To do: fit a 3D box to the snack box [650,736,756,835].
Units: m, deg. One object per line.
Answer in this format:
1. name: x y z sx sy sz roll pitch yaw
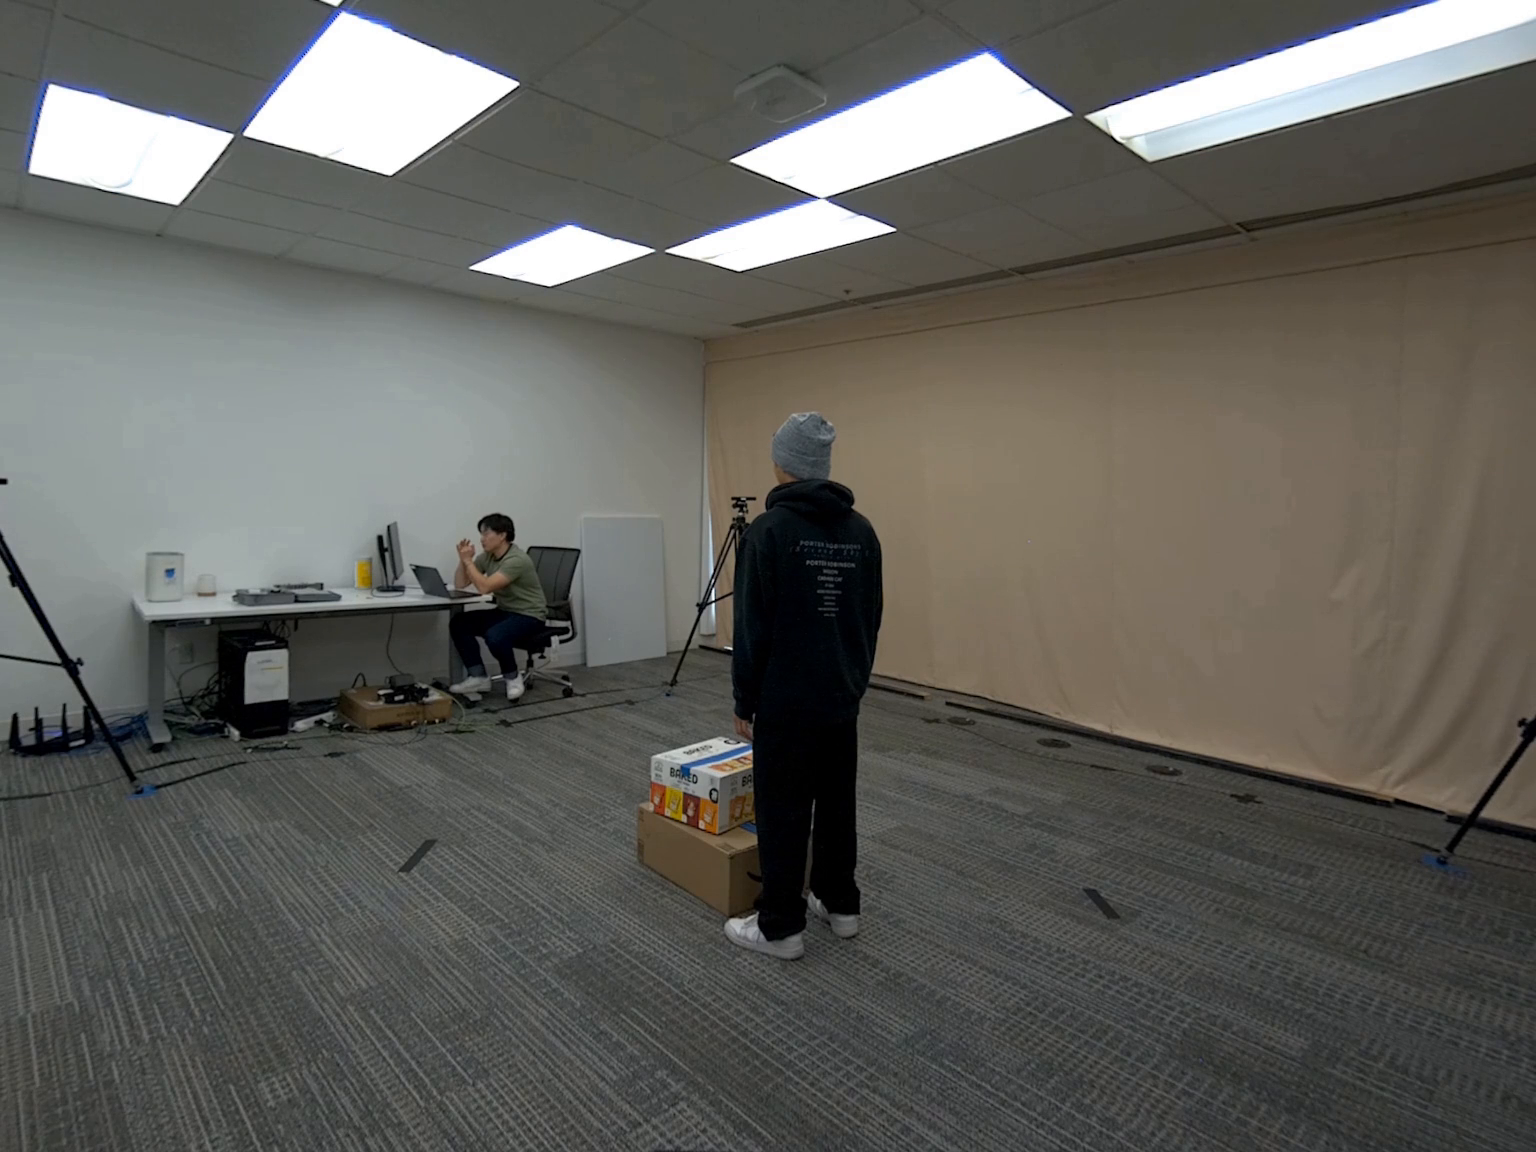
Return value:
1. snack box: -0.190 0.780 3.178 0.349 0.205 0.396 6 5 38
